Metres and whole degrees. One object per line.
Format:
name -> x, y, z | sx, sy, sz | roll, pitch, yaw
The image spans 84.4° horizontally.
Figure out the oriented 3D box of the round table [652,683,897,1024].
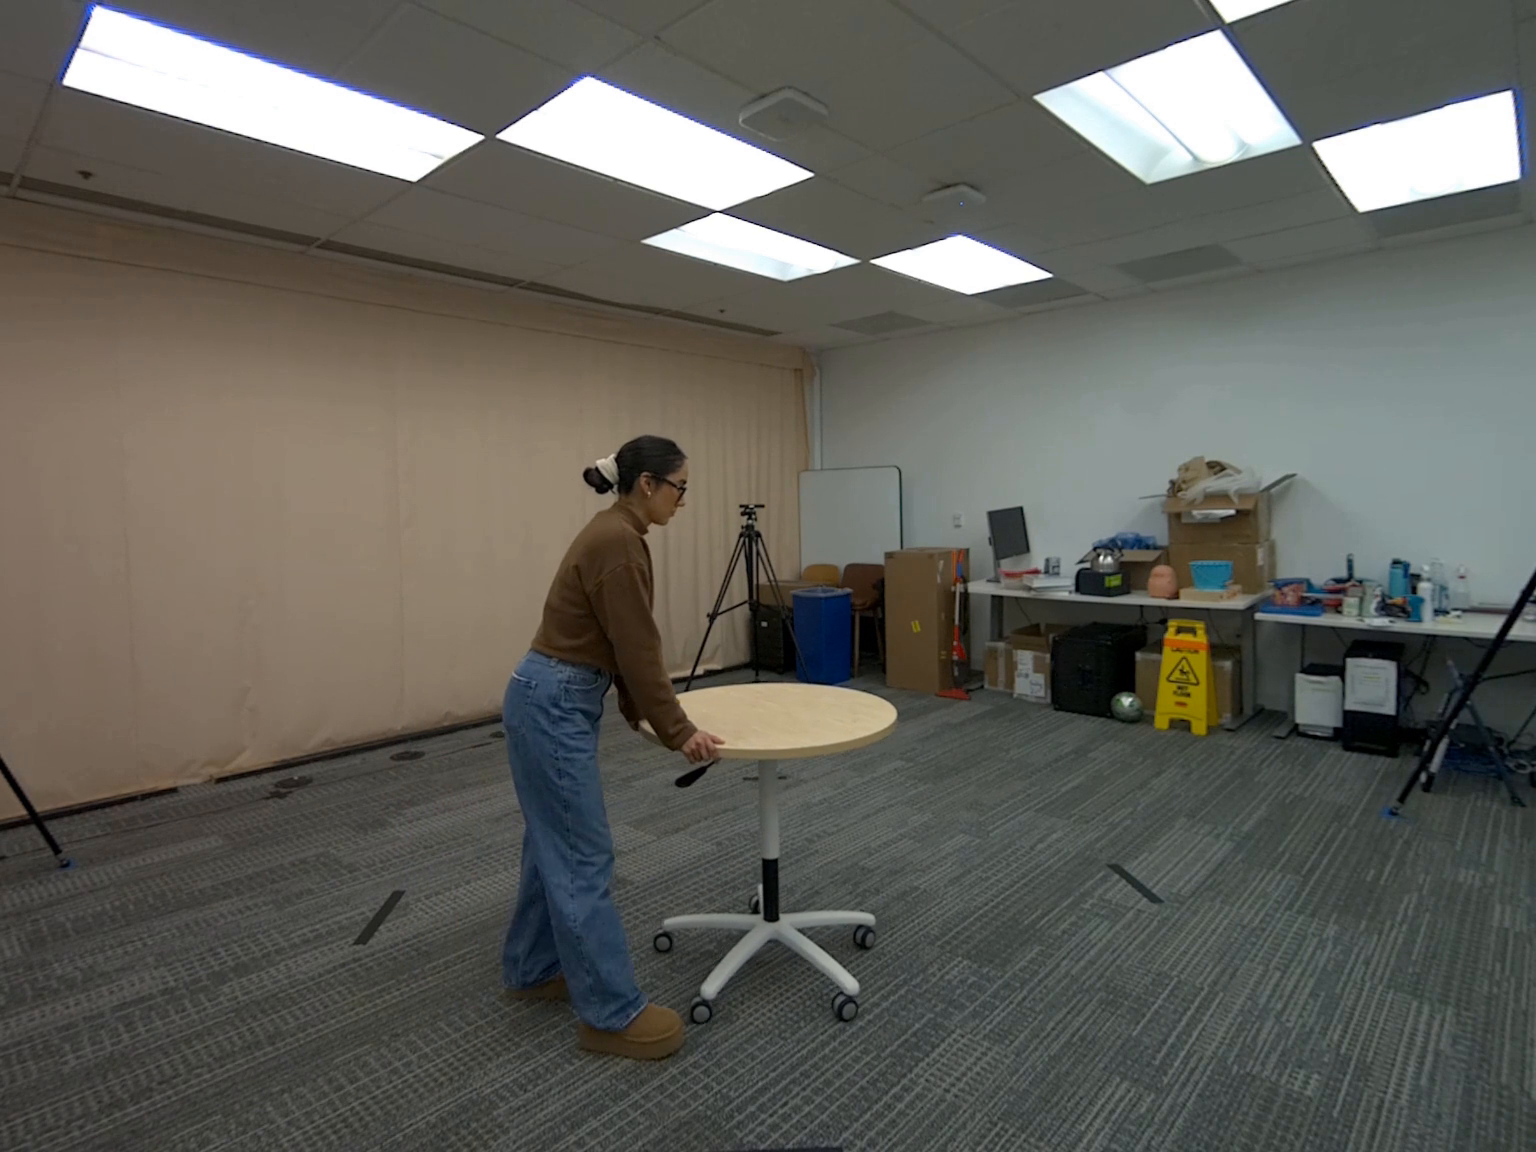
round table -> 0.005, 0.796, 2.529 | 0.763, 0.792, 0.767 | -1, 4, -2
